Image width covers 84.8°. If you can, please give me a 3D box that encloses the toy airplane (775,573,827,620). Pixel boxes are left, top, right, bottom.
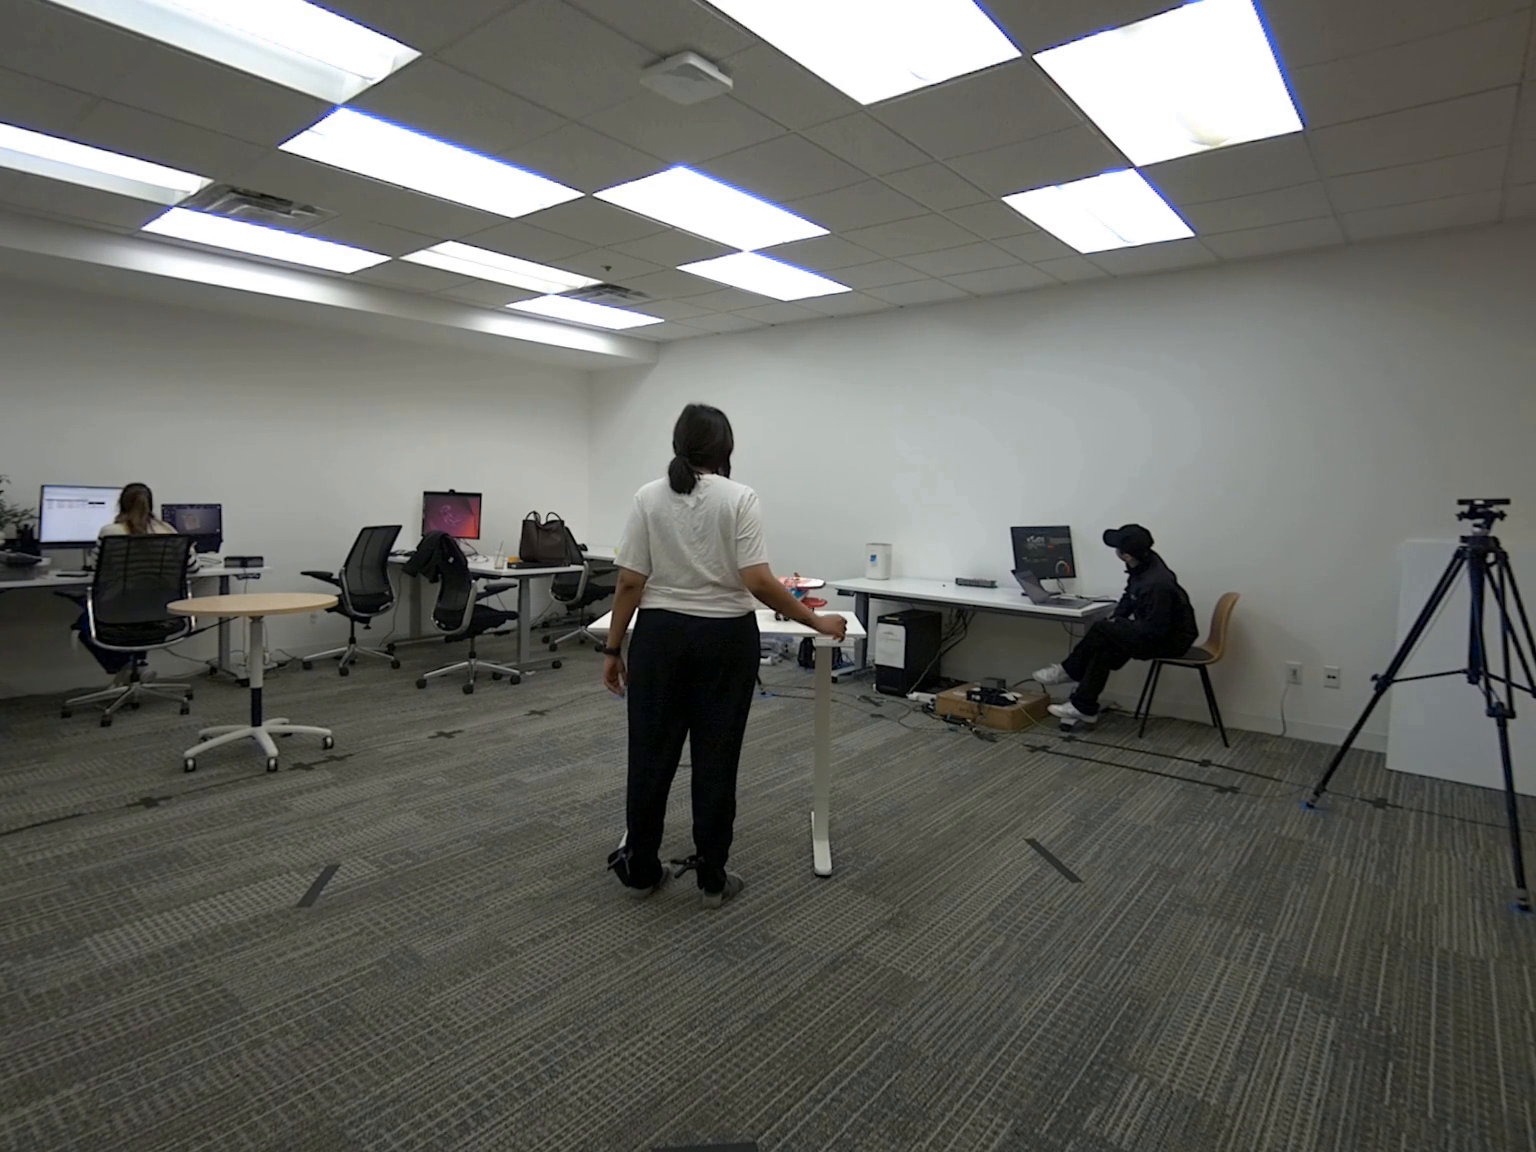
[{"bbox_3d":[0.114,0.086,3.395,0.251,0.156,0.260,0,2,-2],"label":"toy airplane"}]
